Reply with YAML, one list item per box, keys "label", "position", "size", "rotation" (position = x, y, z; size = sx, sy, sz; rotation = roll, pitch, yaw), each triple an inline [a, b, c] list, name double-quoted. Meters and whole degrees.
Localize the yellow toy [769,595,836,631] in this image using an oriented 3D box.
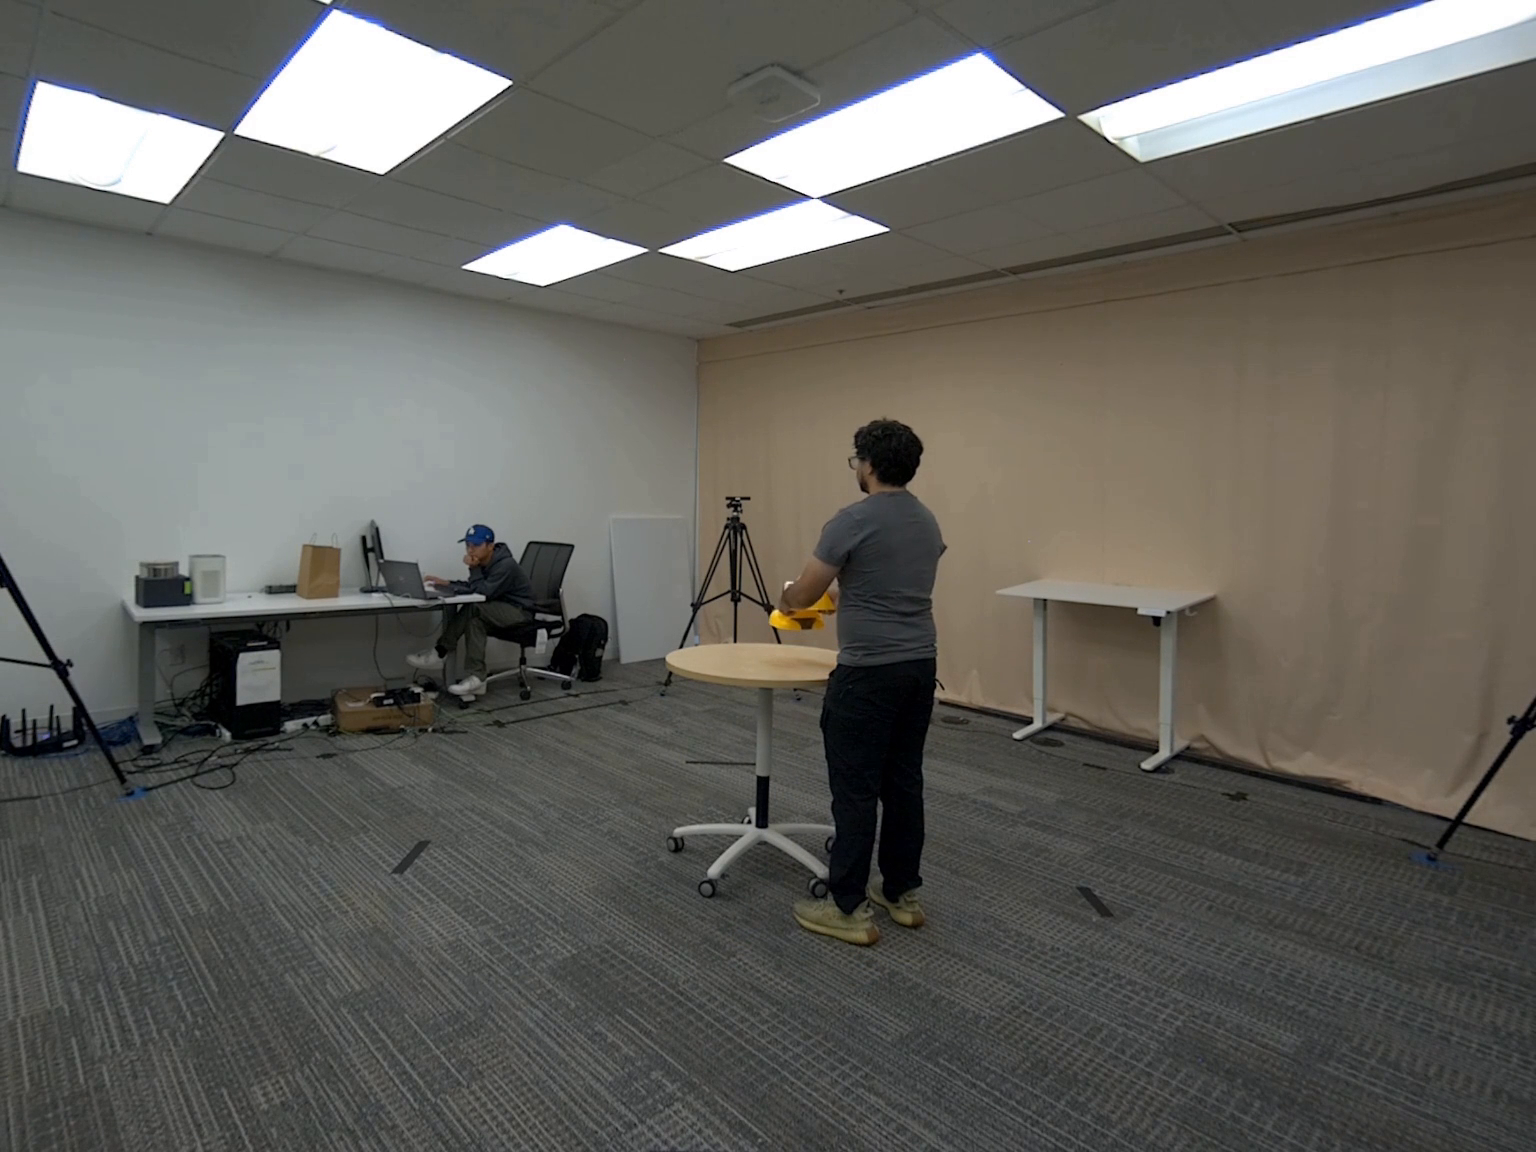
- label: "yellow toy"
  position: [0.108, 0.075, 3.139]
  size: [0.201, 0.230, 0.197]
  rotation: [1, 8, -27]
